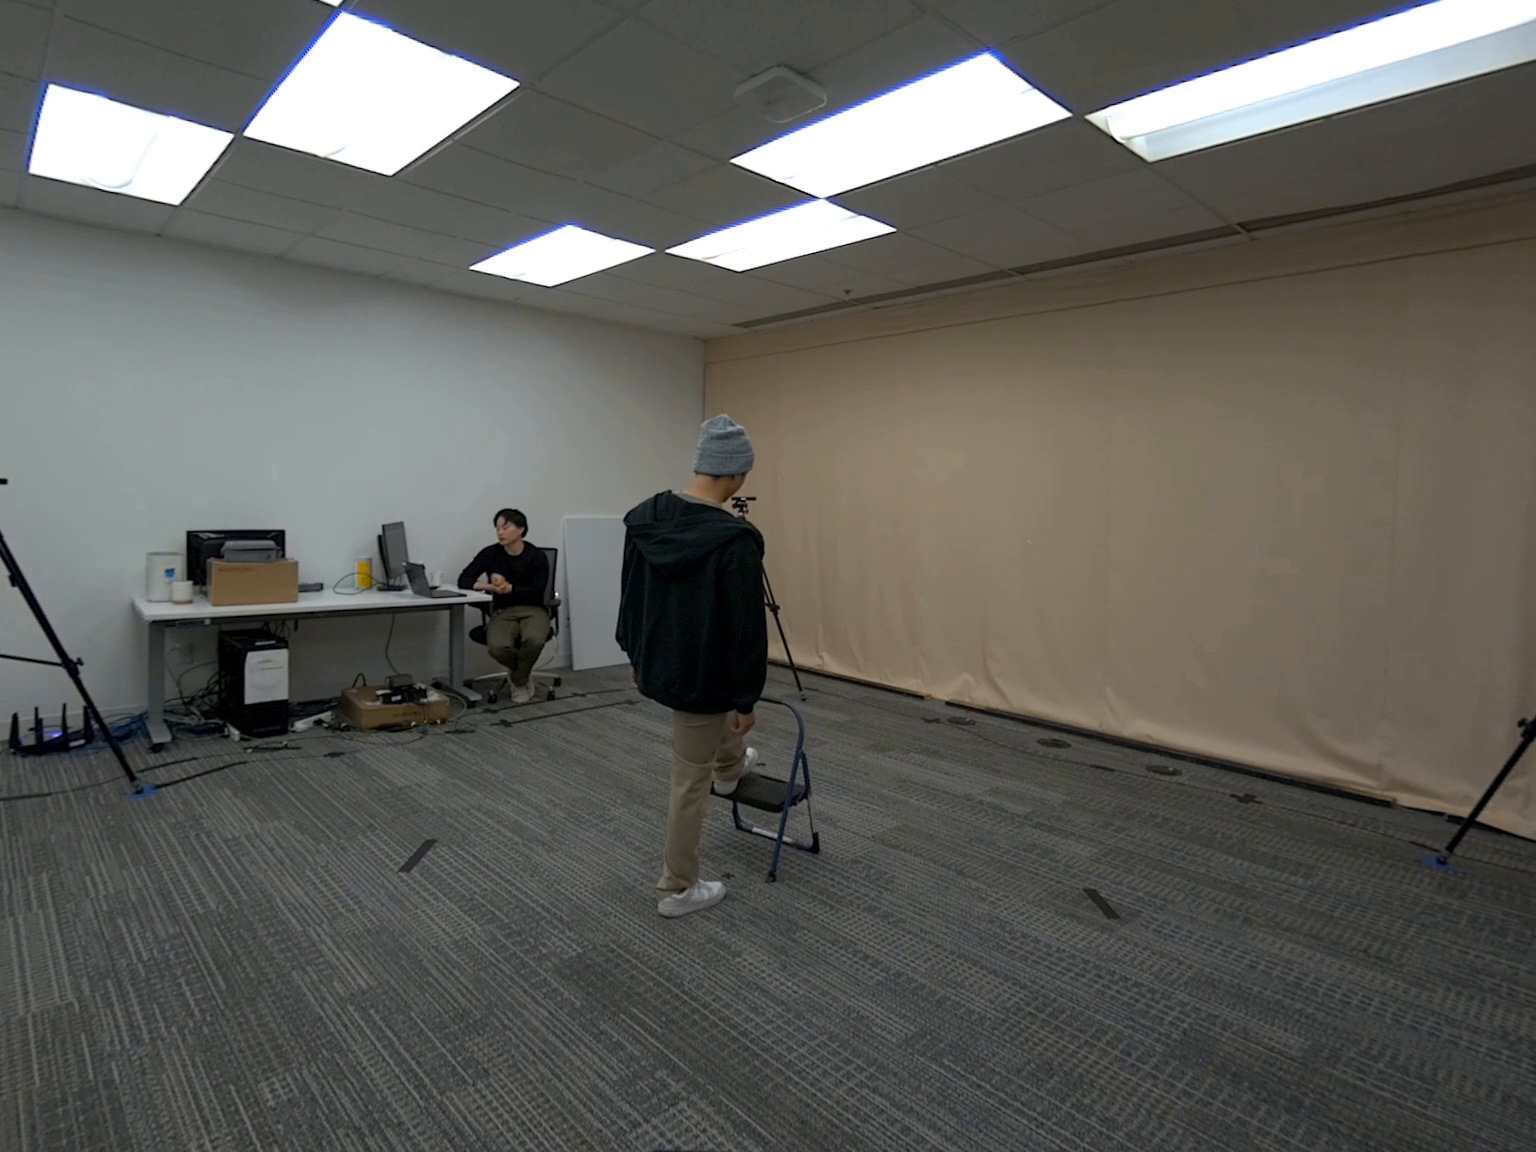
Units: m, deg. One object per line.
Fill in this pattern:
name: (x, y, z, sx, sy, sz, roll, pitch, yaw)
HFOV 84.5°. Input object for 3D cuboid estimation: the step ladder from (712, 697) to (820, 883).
step ladder: (-0.055, 0.788, 3.306, 0.441, 0.605, 0.341, 4, 4, 36)
